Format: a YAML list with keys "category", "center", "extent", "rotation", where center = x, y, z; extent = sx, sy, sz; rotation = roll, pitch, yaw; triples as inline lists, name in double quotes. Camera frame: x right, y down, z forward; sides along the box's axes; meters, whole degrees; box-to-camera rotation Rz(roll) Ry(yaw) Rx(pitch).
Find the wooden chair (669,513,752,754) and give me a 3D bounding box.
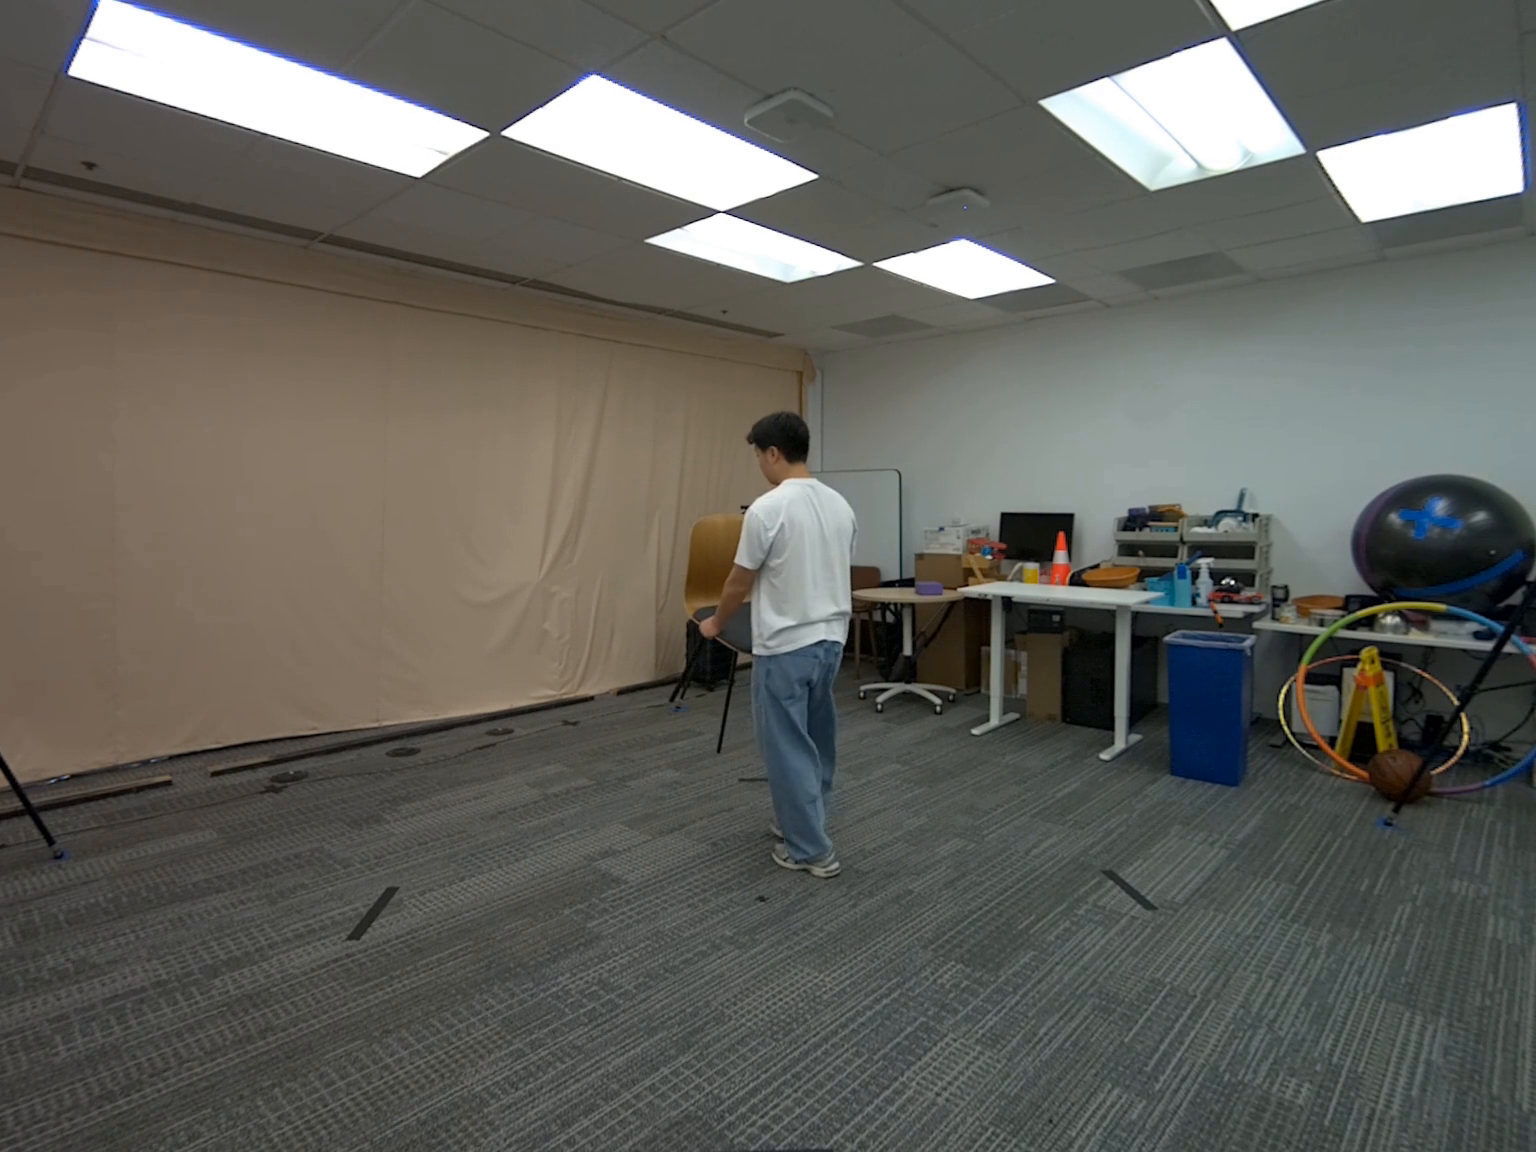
- category: "wooden chair"
  center: [-0.090, 0.228, 3.533]
  extent: [0.466, 0.870, 0.541]
  rotation: [-5, 17, -30]
